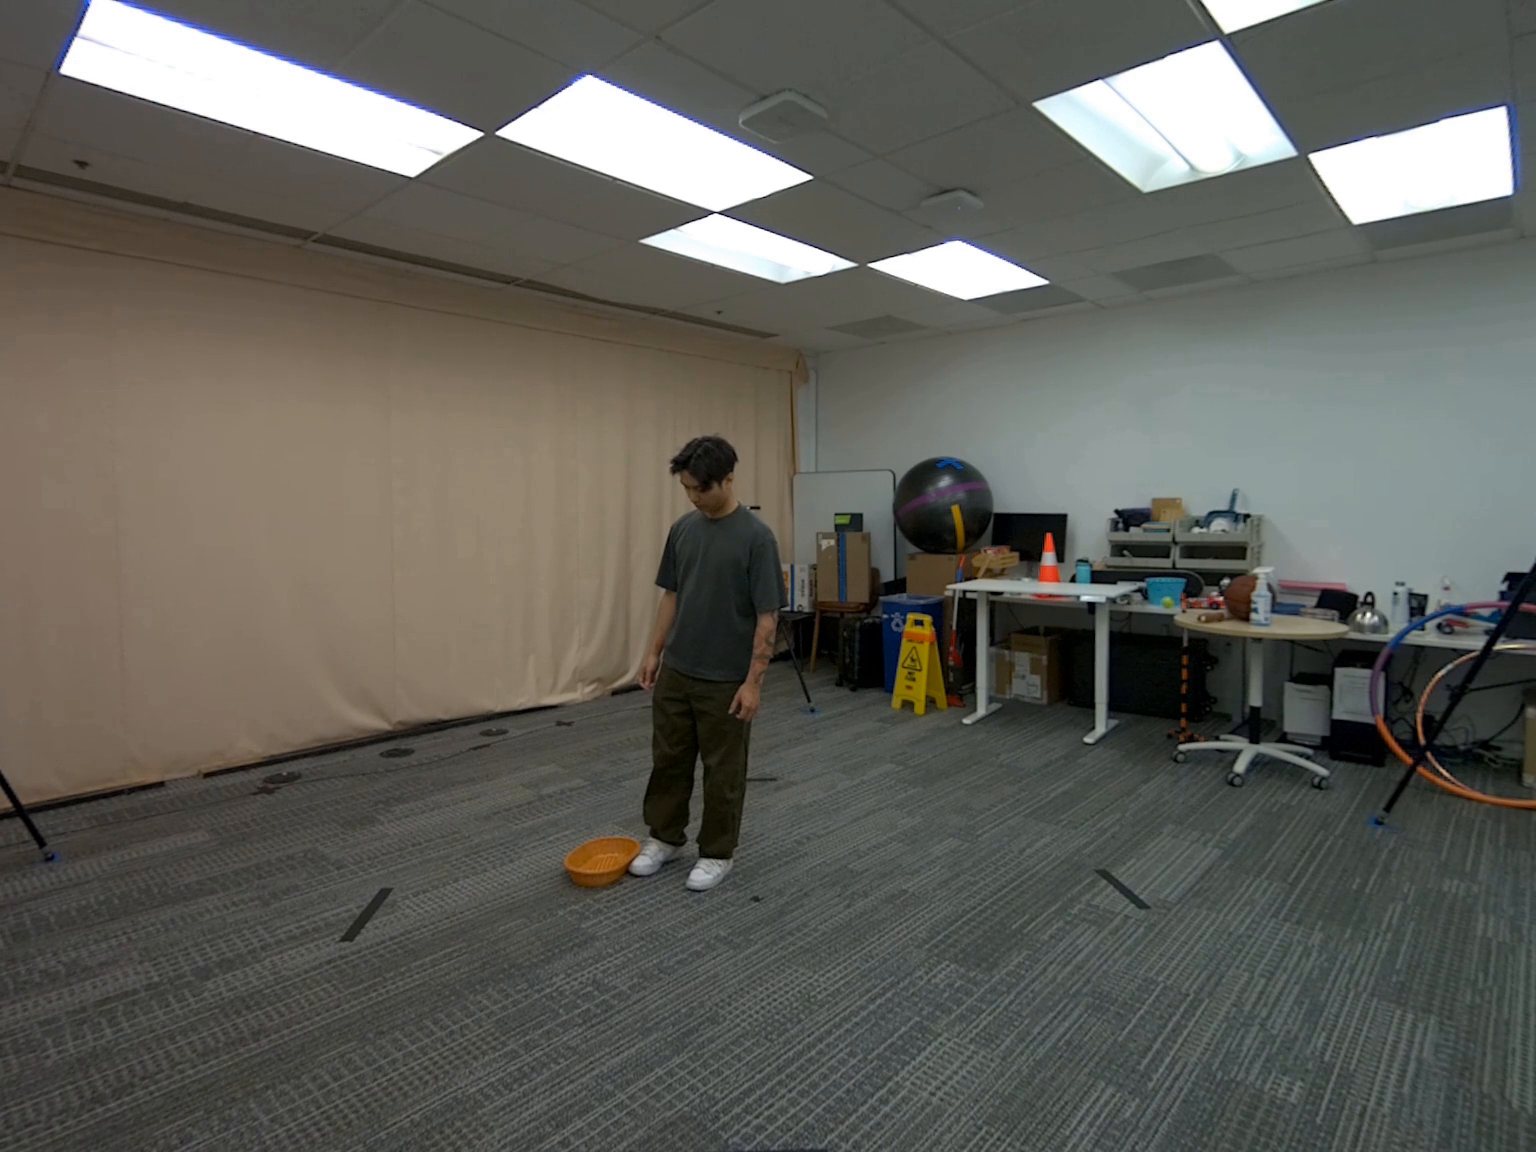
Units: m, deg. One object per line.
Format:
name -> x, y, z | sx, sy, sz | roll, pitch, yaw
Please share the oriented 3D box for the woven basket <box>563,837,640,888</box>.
woven basket -> -0.633, 1.095, 3.224 | 0.259, 0.073, 0.342 | 1, 5, 24
